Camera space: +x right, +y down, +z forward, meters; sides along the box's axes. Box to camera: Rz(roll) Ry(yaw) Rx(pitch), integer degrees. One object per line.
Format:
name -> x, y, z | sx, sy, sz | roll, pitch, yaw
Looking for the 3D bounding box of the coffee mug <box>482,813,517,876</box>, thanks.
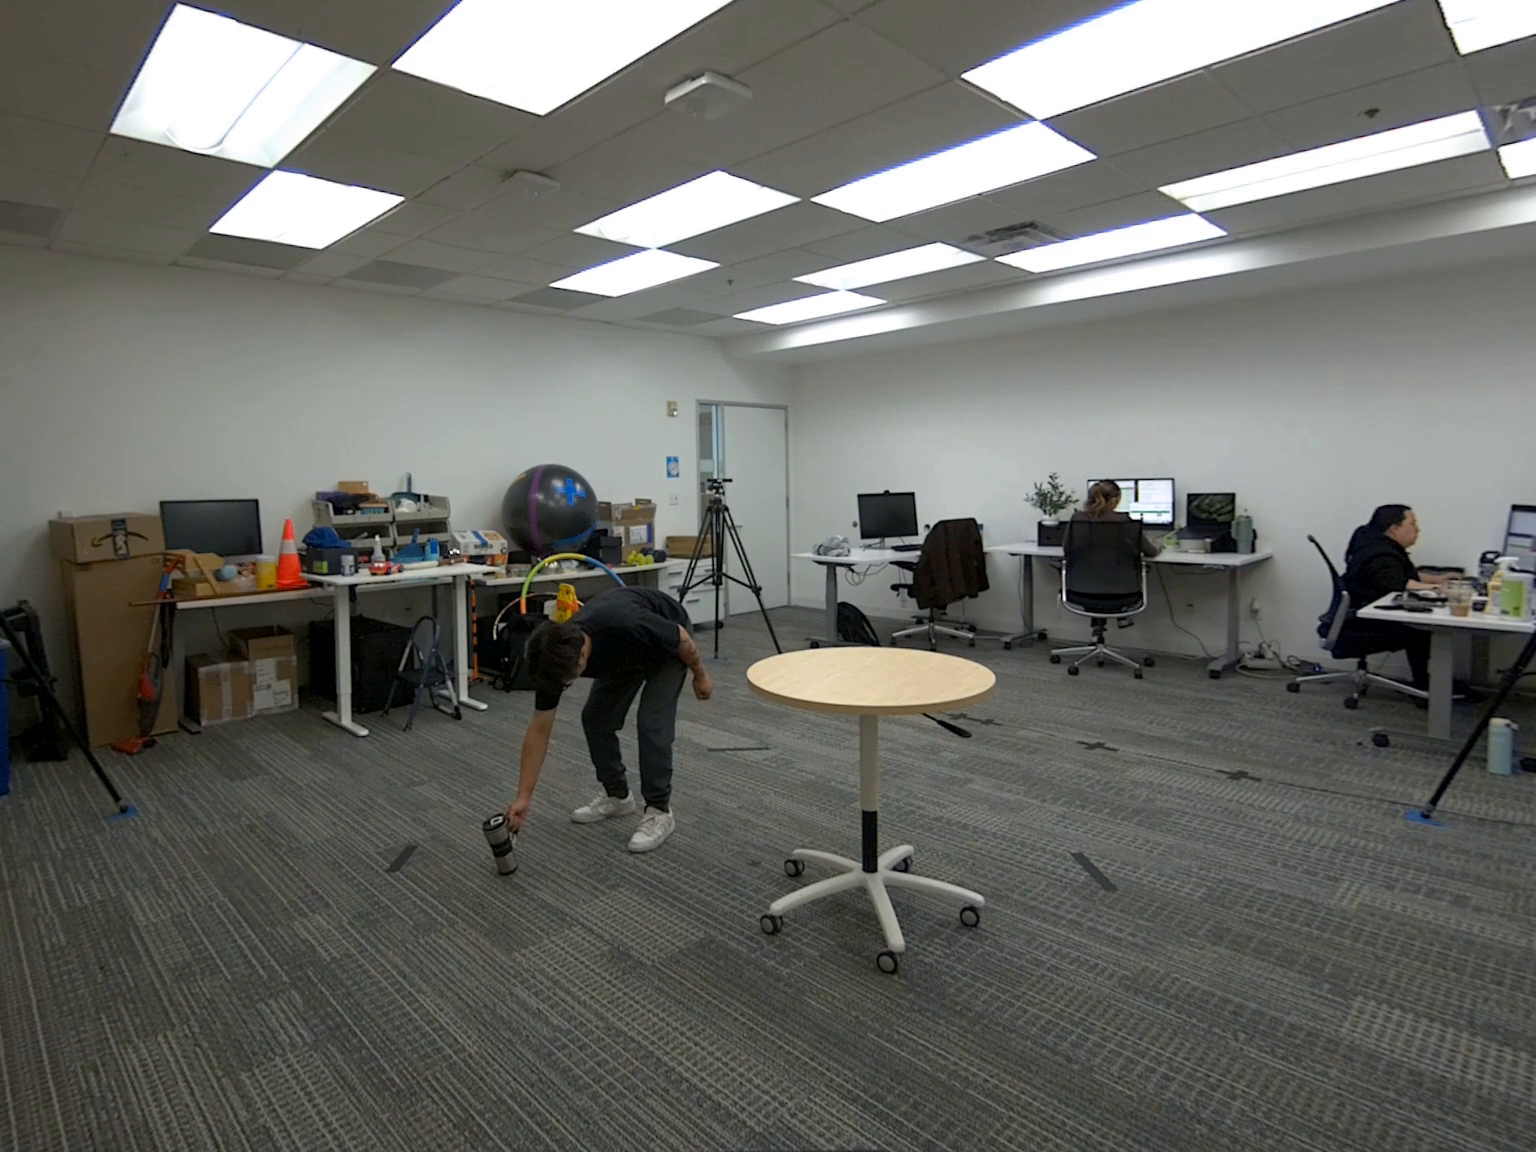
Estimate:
coffee mug -> -0.939, 0.952, 3.072 | 0.090, 0.200, 0.121 | -6, 18, 32
